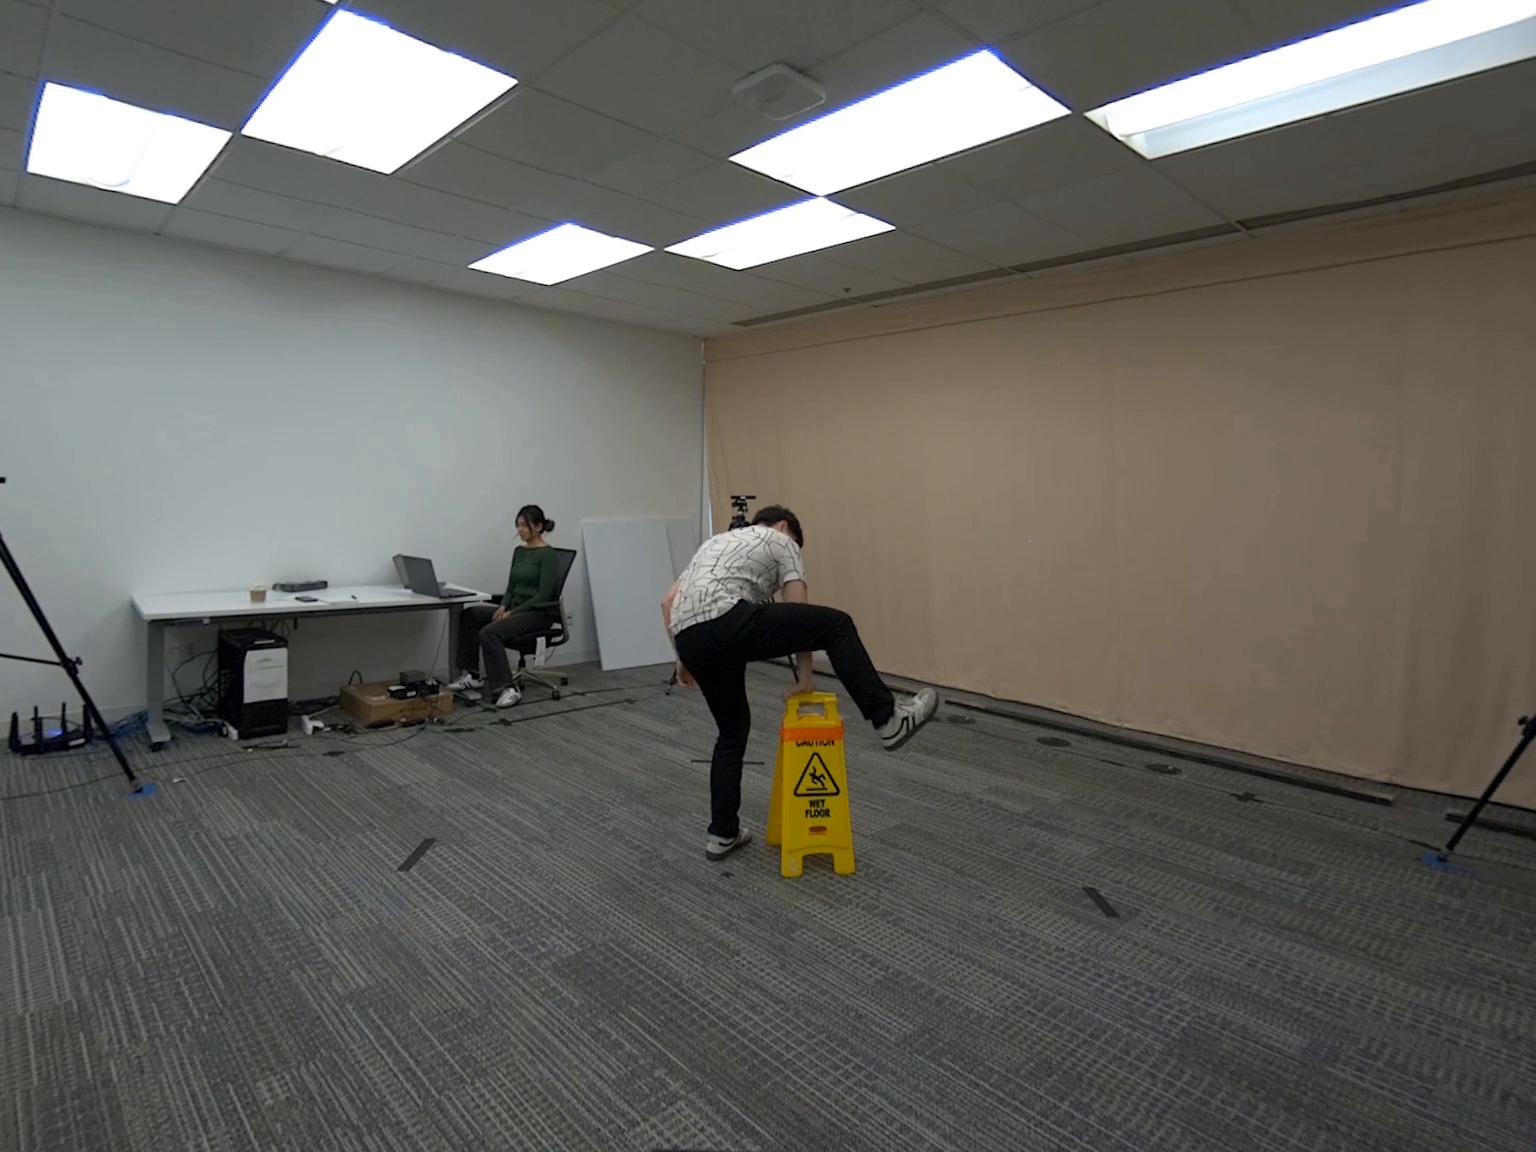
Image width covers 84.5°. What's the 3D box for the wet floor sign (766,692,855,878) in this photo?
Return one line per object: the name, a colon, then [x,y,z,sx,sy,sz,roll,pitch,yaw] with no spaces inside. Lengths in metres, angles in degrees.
wet floor sign: [0.158,0.775,3.243,0.280,0.645,0.293,3,3,-11]
